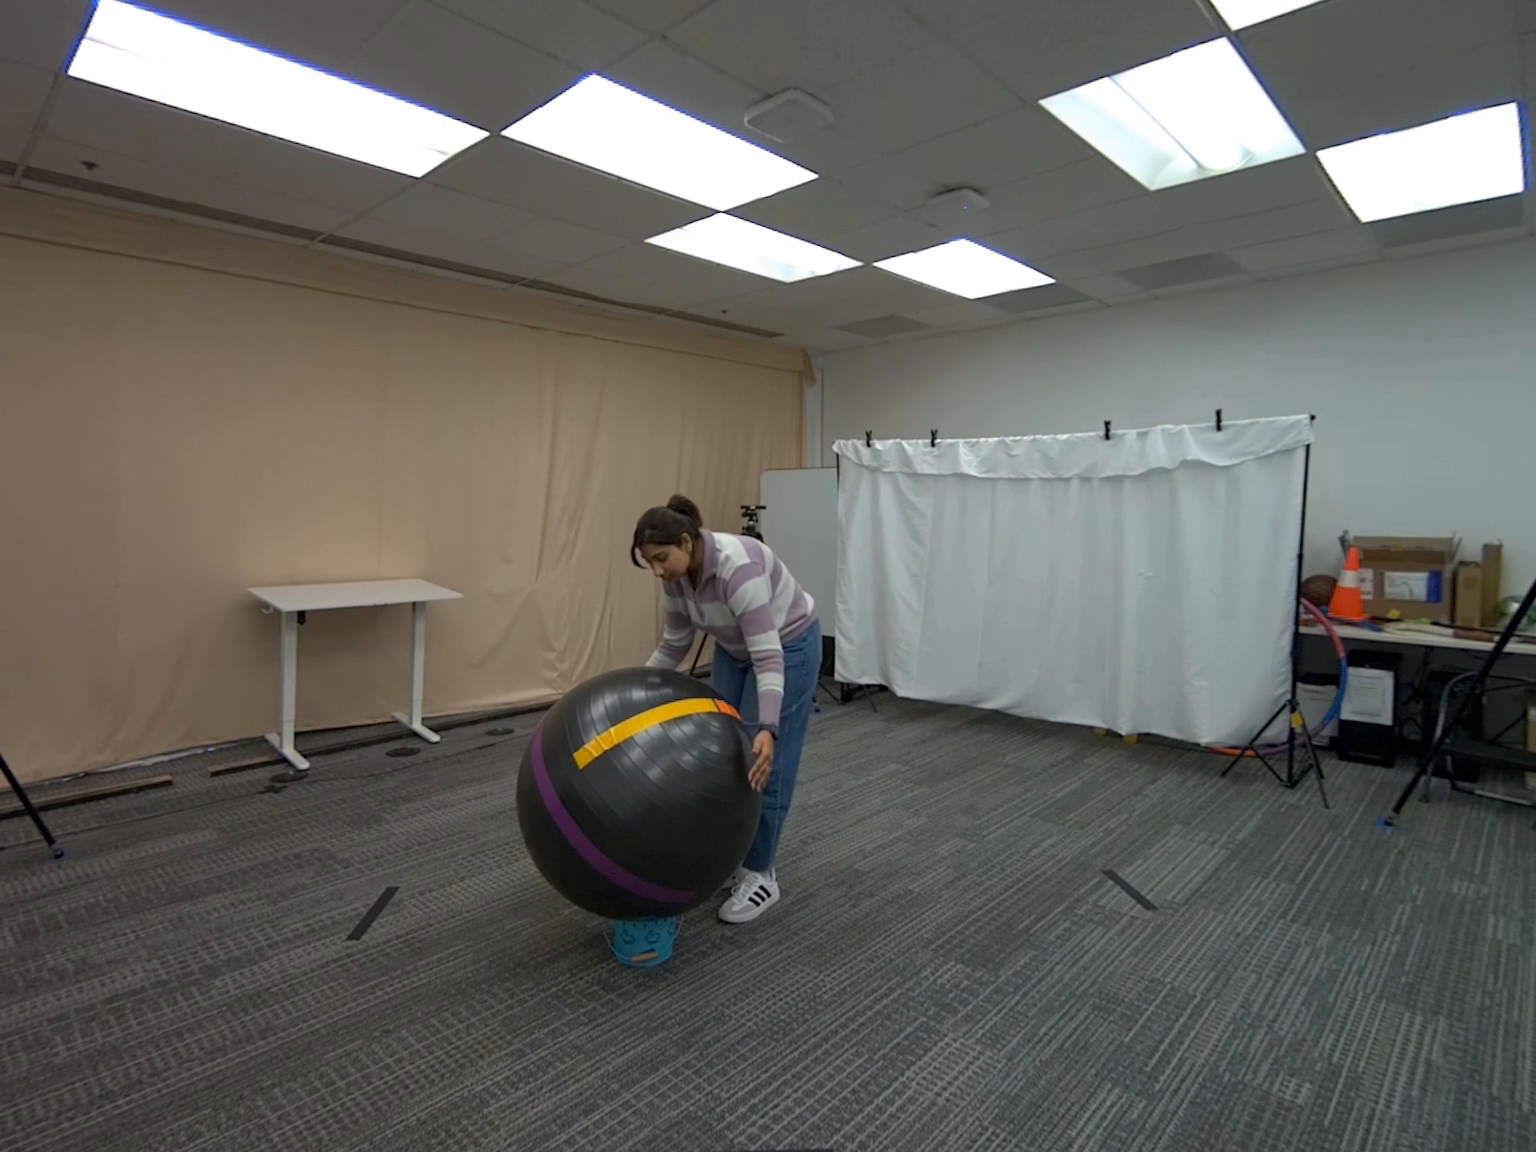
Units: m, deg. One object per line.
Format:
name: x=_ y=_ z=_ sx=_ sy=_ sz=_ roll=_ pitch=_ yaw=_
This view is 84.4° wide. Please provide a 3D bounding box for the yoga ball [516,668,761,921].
yoga ball: x=-0.406 y=0.674 z=2.611 sx=0.757 sy=0.756 sz=0.761 roll=0 pitch=4 yaw=-2
